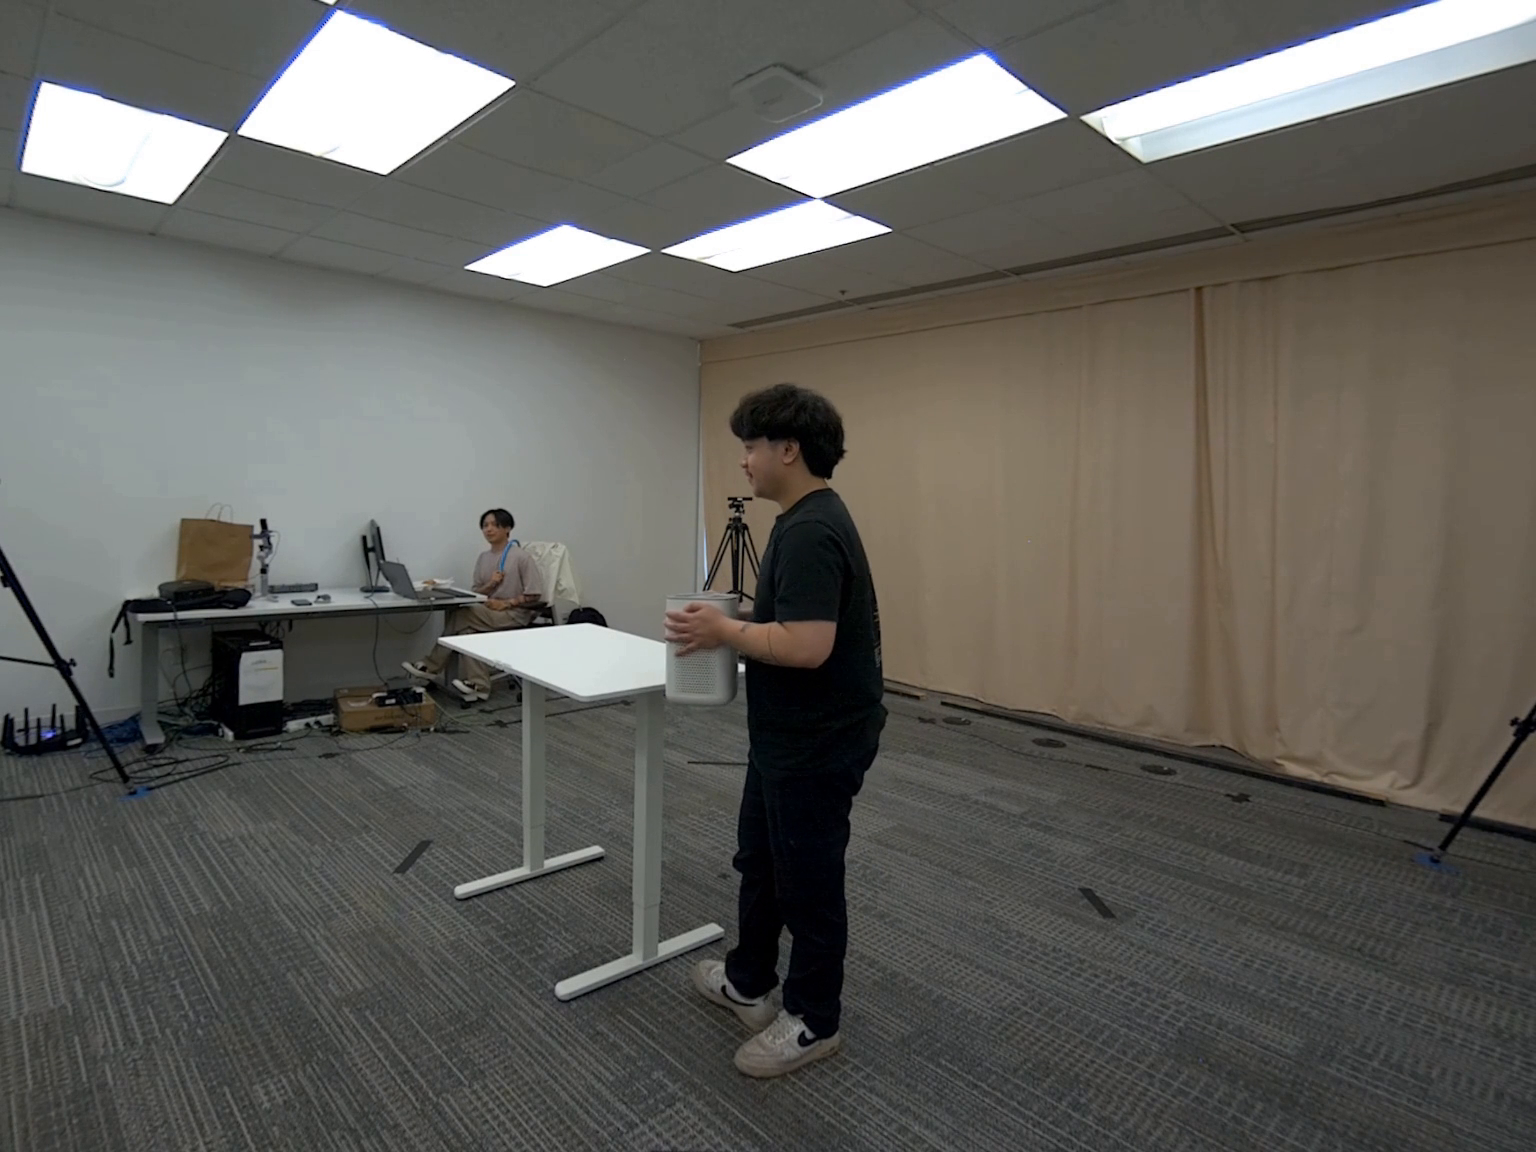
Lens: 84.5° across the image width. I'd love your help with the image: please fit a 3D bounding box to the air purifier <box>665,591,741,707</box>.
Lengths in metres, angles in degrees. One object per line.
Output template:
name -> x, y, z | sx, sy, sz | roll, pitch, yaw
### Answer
air purifier -> -0.156, 0.183, 2.092 | 0.173, 0.265, 0.170 | 0, 3, 8
